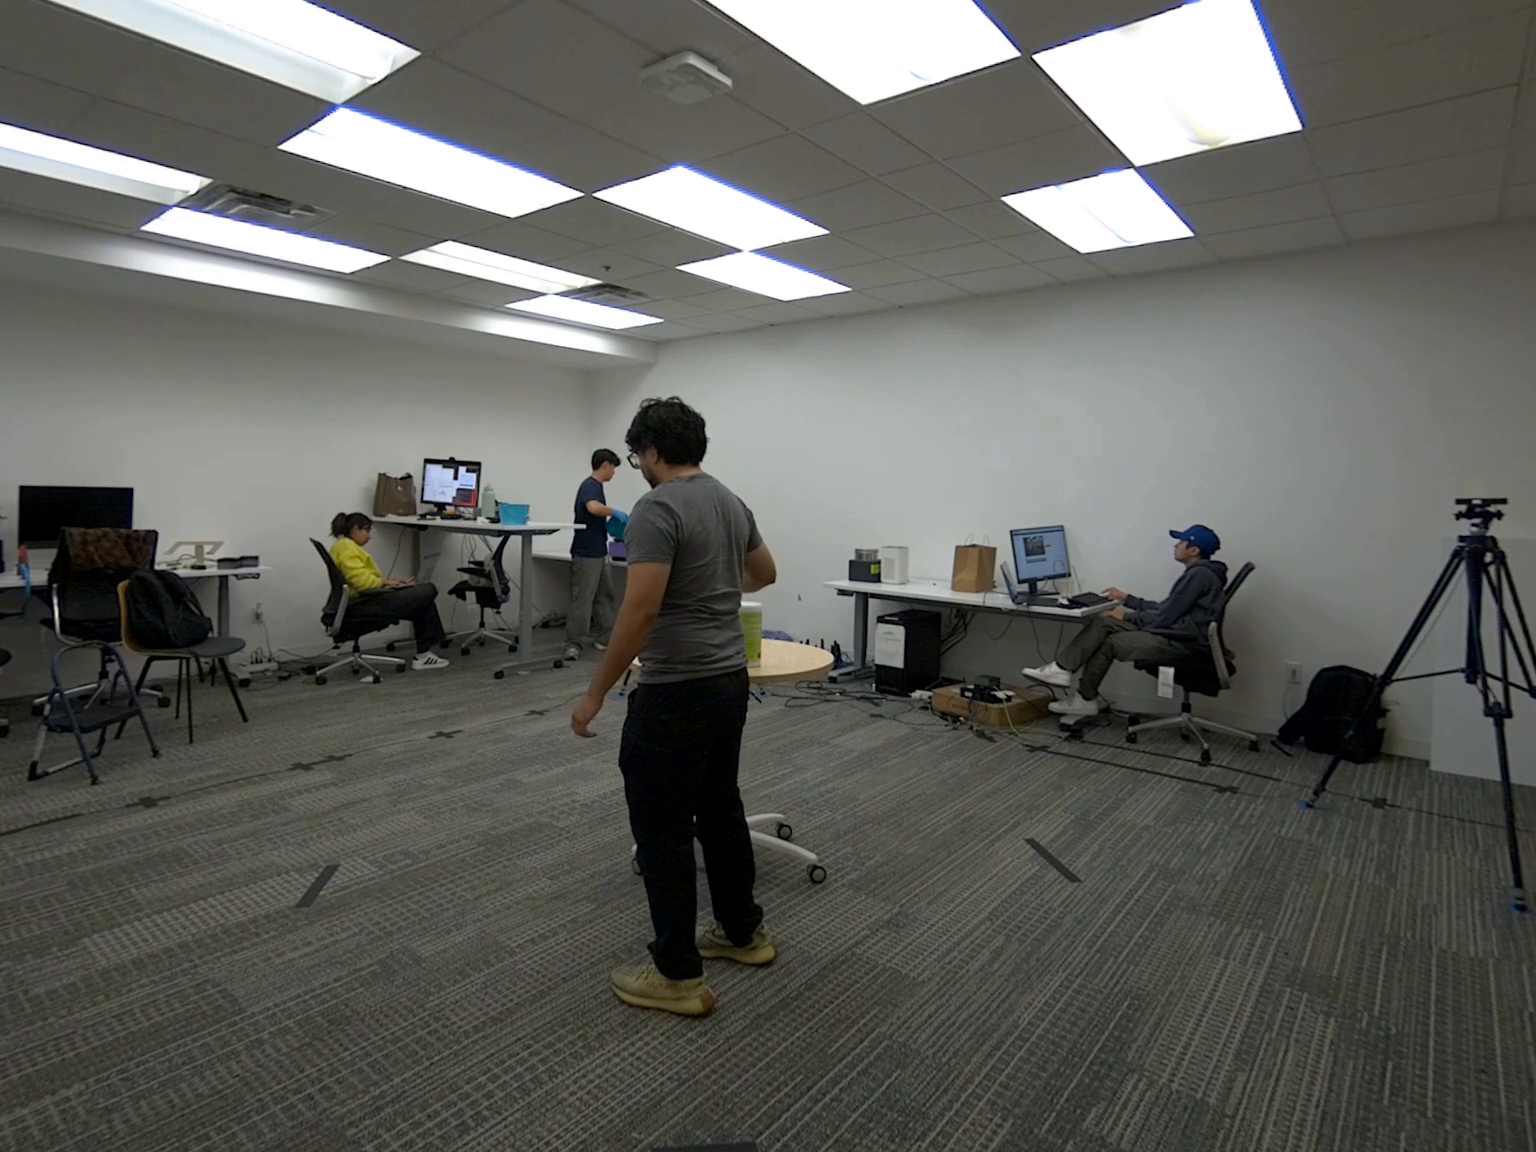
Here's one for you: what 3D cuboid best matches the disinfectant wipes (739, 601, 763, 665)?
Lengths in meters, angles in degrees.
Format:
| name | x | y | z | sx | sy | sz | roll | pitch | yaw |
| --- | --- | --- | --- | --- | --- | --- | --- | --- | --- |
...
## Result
| name | x | y | z | sx | sy | sz | roll | pitch | yaw |
| --- | --- | --- | --- | --- | --- | --- | --- | --- | --- |
| disinfectant wipes | -0.084 | 0.199 | 2.931 | 0.117 | 0.216 | 0.118 | 1 | 5 | -2 |
